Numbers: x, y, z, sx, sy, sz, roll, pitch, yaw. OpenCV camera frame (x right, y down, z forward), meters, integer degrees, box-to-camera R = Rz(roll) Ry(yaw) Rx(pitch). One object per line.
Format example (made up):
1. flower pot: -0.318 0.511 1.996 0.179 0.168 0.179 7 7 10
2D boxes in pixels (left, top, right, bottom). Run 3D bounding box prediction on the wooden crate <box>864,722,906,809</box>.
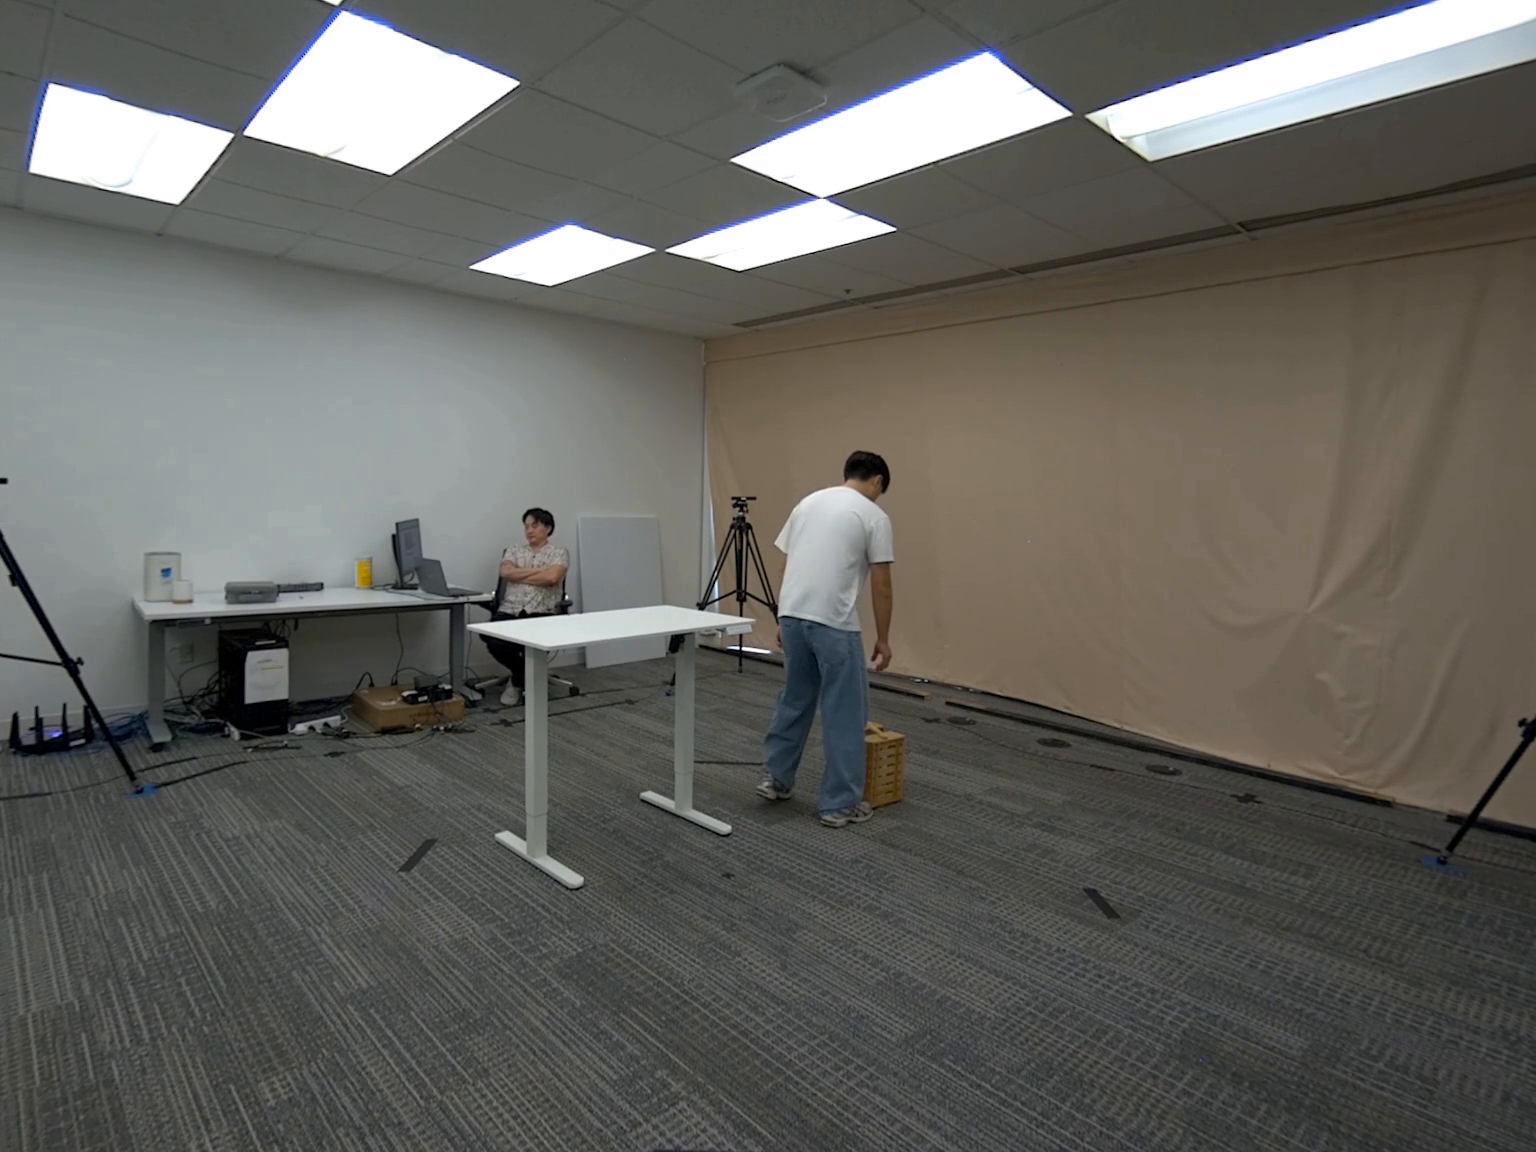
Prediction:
1. wooden crate: 0.462 0.884 3.987 0.295 0.324 0.280 0 5 -41
